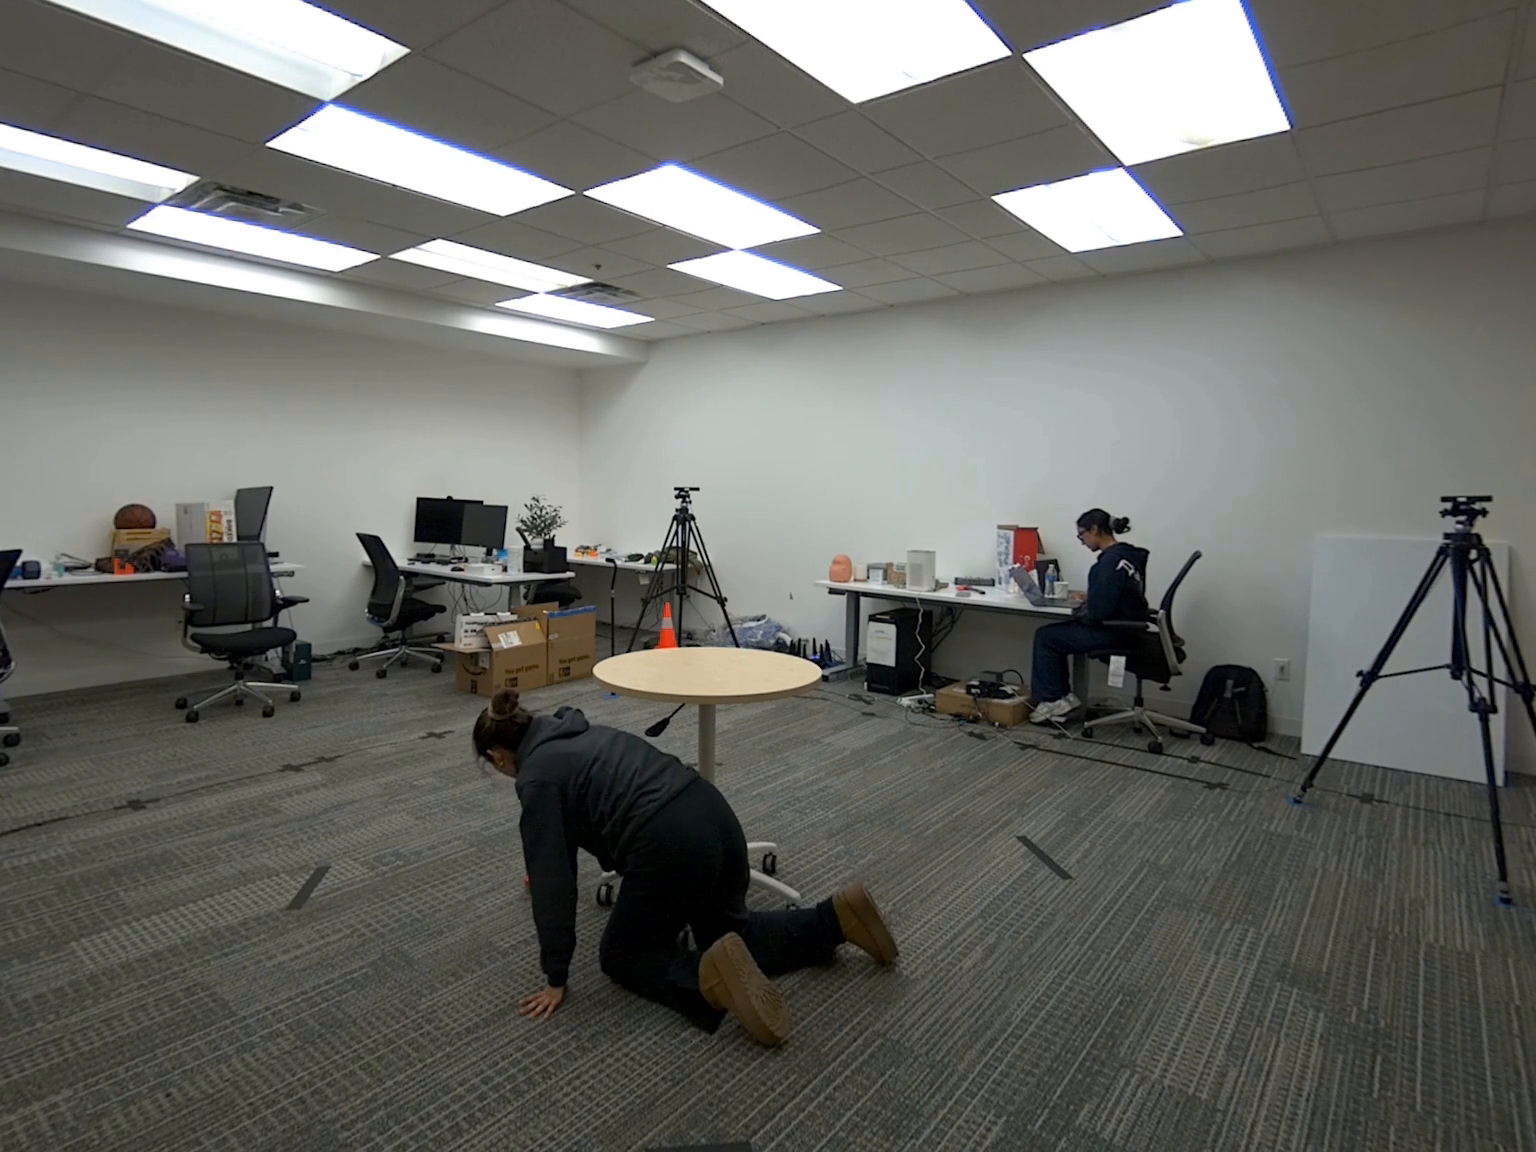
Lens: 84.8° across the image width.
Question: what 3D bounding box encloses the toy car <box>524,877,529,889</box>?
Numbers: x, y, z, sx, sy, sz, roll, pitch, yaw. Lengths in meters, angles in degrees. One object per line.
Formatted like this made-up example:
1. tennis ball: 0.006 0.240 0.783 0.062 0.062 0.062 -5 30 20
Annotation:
1. toy car: -0.767 1.036 2.985 0.131 0.084 0.251 2 -7 2
